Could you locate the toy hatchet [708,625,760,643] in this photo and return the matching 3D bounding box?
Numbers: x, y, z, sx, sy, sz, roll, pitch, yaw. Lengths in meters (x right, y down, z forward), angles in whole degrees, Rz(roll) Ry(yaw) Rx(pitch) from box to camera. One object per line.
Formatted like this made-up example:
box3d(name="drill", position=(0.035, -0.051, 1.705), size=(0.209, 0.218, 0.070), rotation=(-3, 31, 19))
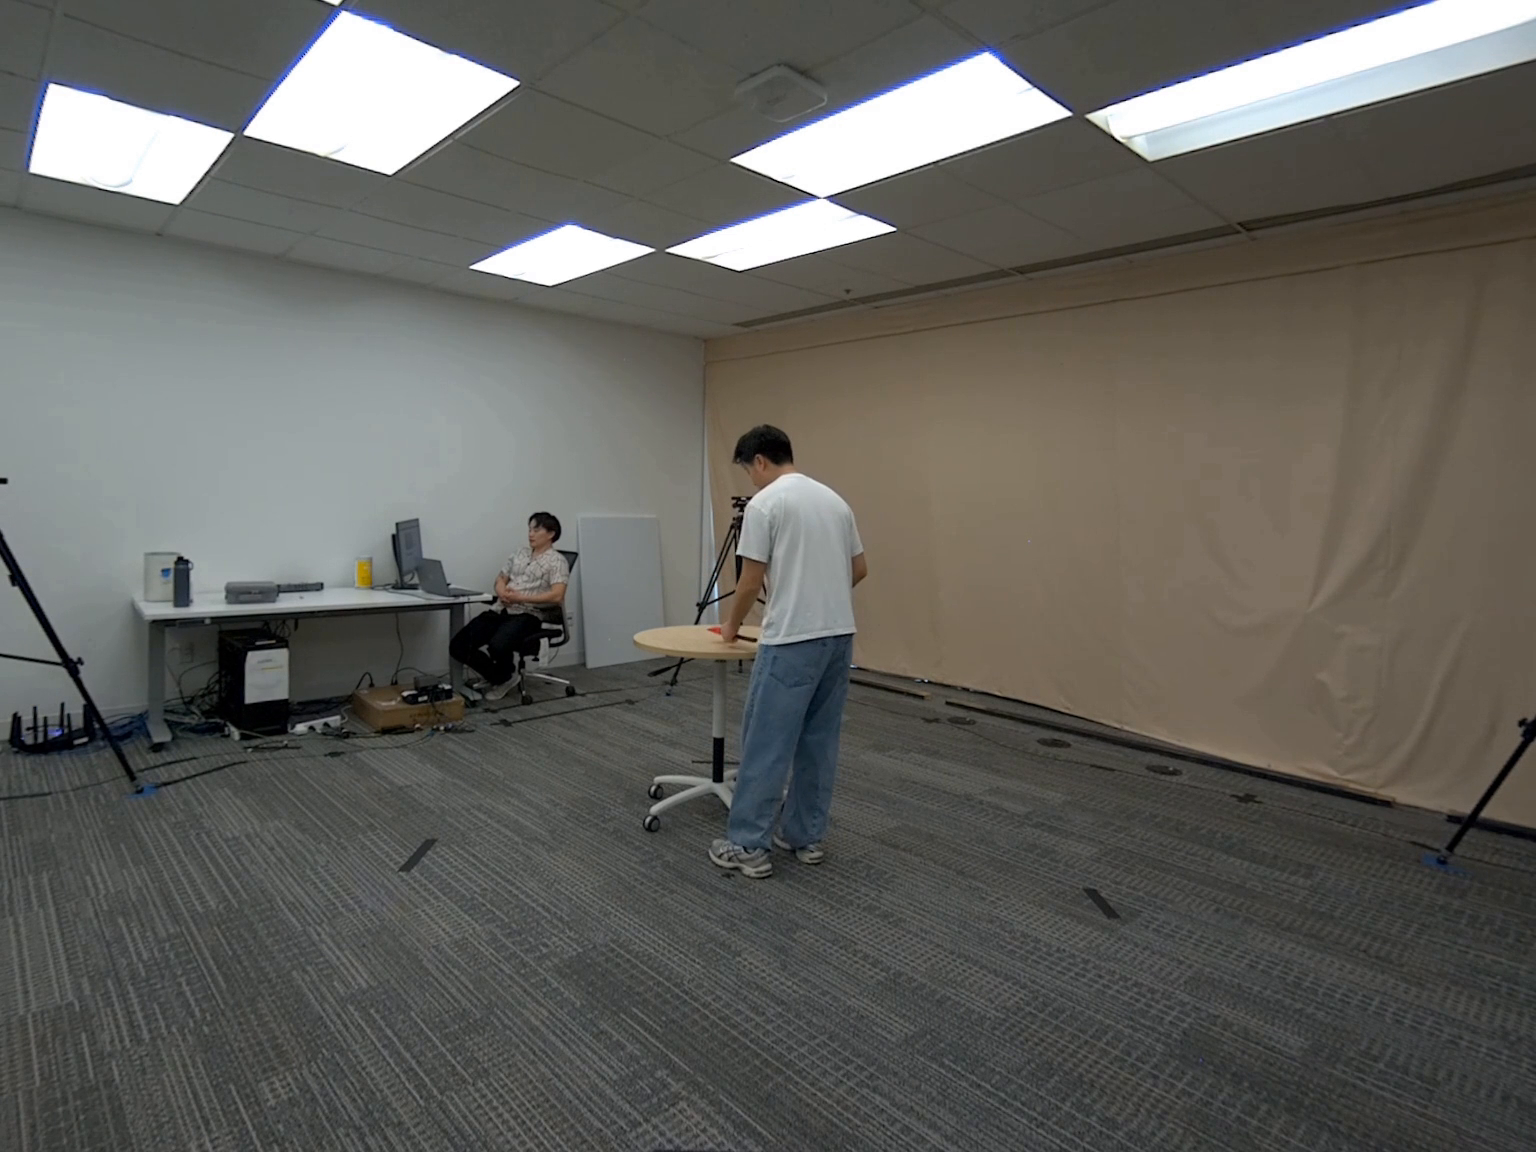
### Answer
box3d(name="toy hatchet", position=(-0.121, 0.246, 3.503), size=(0.277, 0.029, 0.128), rotation=(10, 3, 39))
